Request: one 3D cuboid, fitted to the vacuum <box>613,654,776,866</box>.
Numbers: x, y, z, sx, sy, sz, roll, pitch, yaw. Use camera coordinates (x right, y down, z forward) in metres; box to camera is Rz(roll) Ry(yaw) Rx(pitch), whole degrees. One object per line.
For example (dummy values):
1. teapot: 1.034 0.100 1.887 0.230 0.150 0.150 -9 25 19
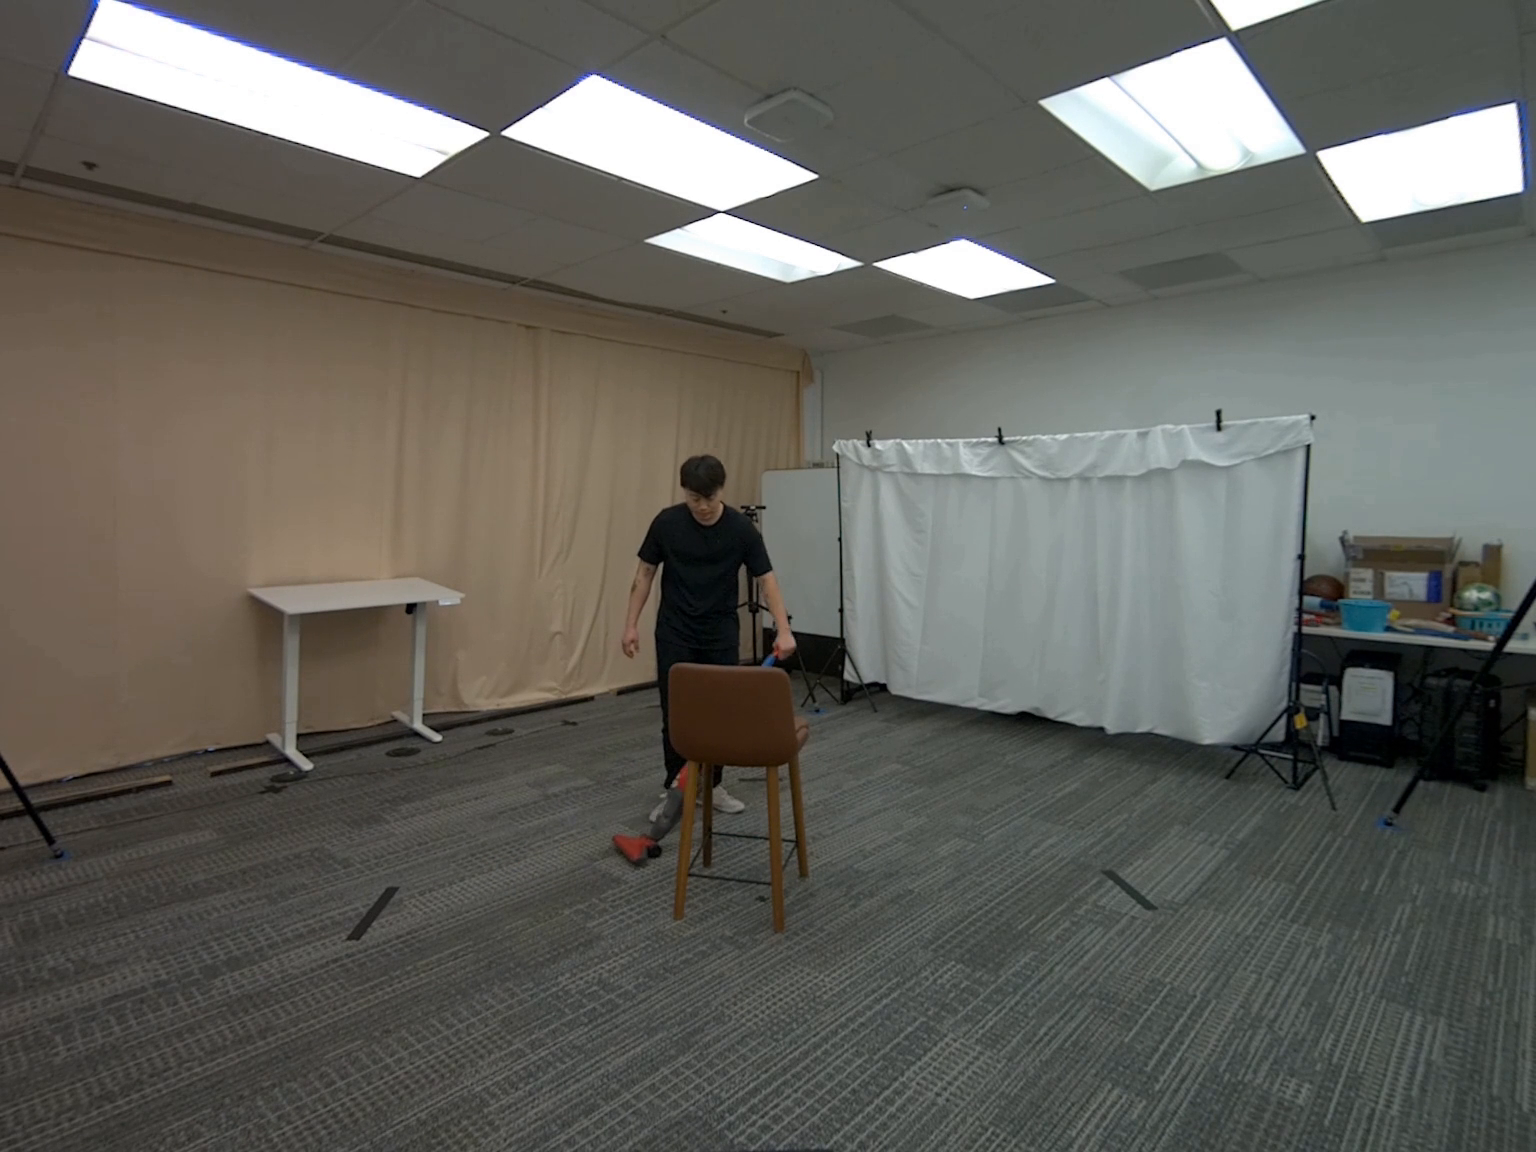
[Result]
1. vacuum: -0.206 0.701 3.517 0.140 1.045 0.260 47 -18 -23
